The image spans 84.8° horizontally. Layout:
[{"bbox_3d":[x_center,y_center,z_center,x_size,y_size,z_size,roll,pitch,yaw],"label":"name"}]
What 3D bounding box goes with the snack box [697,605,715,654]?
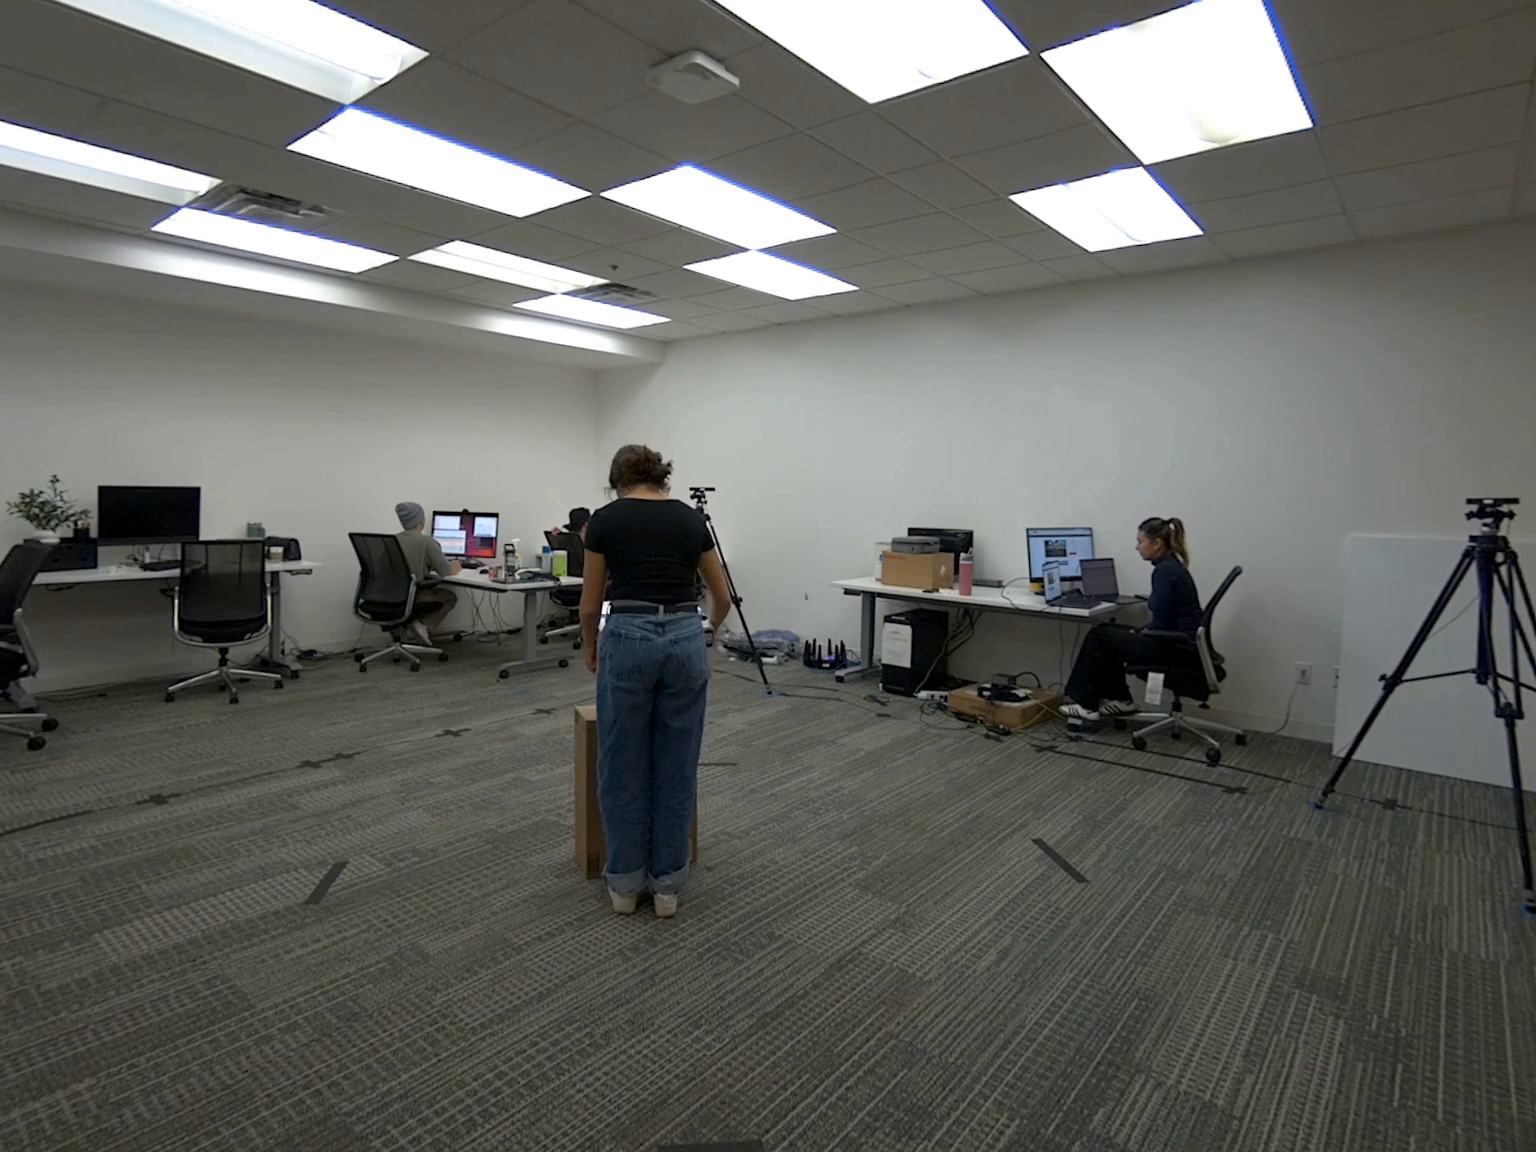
[{"bbox_3d":[-0.439,0.226,3.105,0.399,0.203,0.350,-1,15,-15],"label":"snack box"}]
